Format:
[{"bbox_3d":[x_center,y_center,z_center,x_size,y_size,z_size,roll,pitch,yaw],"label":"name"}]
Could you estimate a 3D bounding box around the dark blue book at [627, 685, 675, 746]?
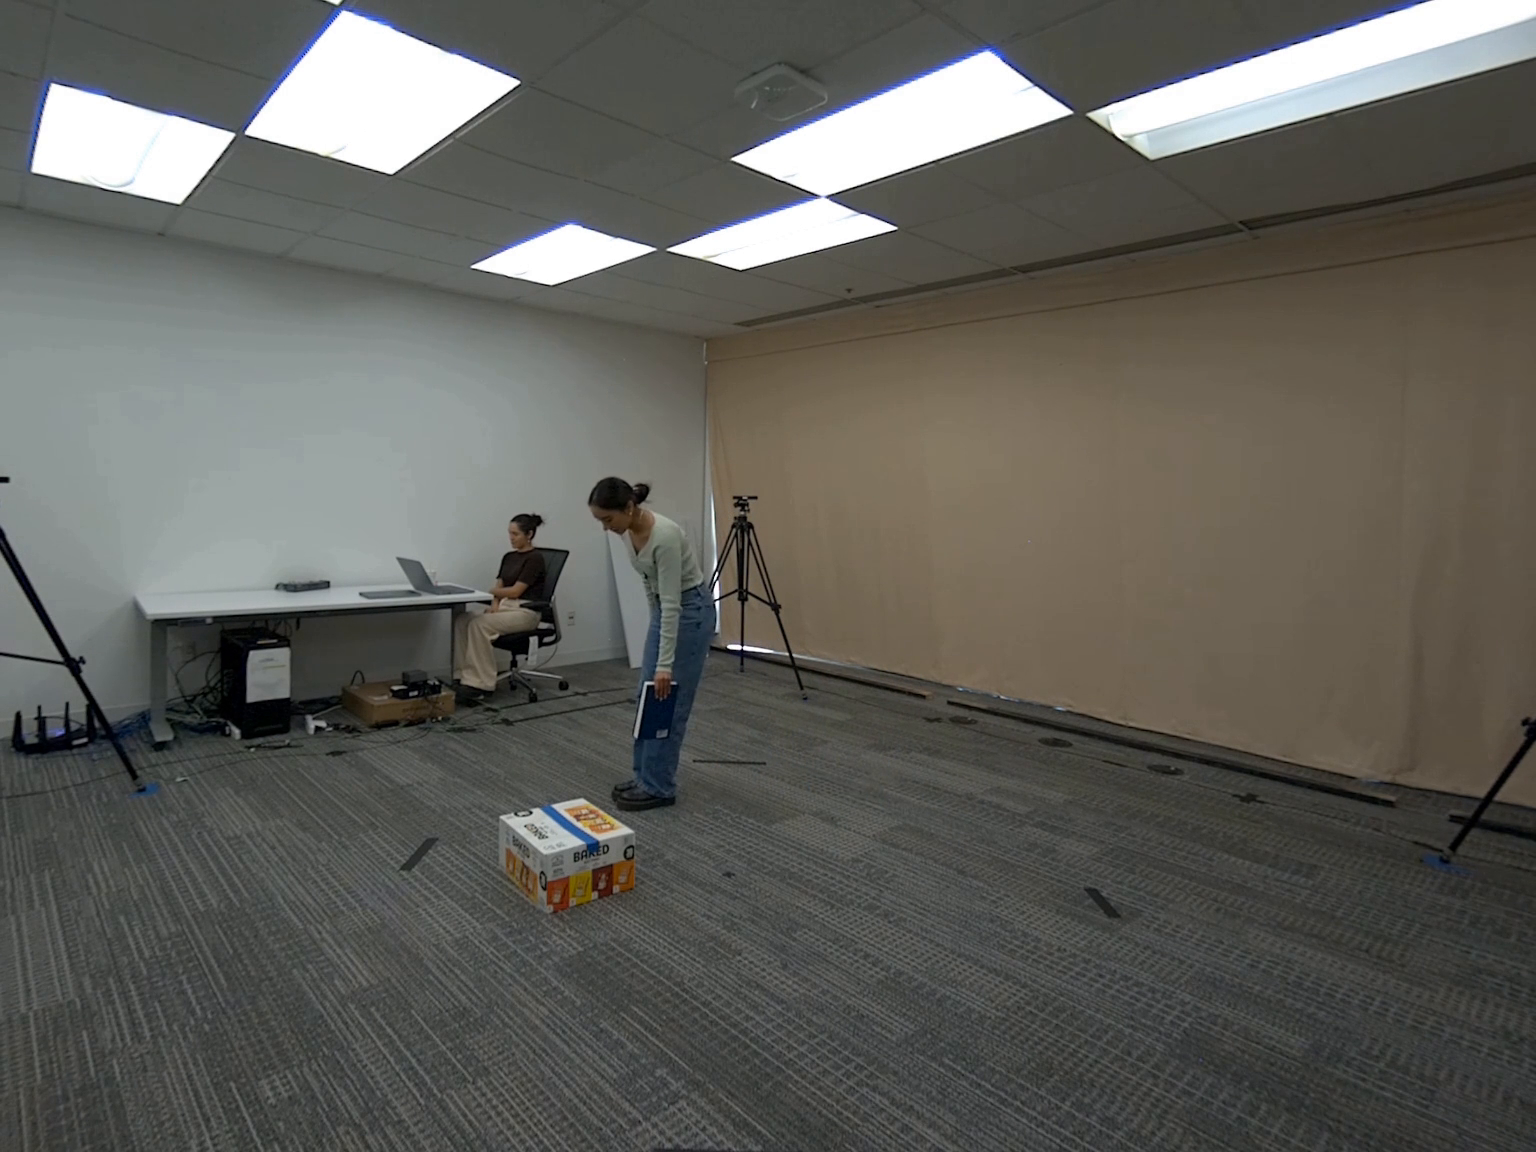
[{"bbox_3d":[-0.489,0.583,3.568,0.159,0.244,0.046,7,8,-39],"label":"dark blue book"}]
